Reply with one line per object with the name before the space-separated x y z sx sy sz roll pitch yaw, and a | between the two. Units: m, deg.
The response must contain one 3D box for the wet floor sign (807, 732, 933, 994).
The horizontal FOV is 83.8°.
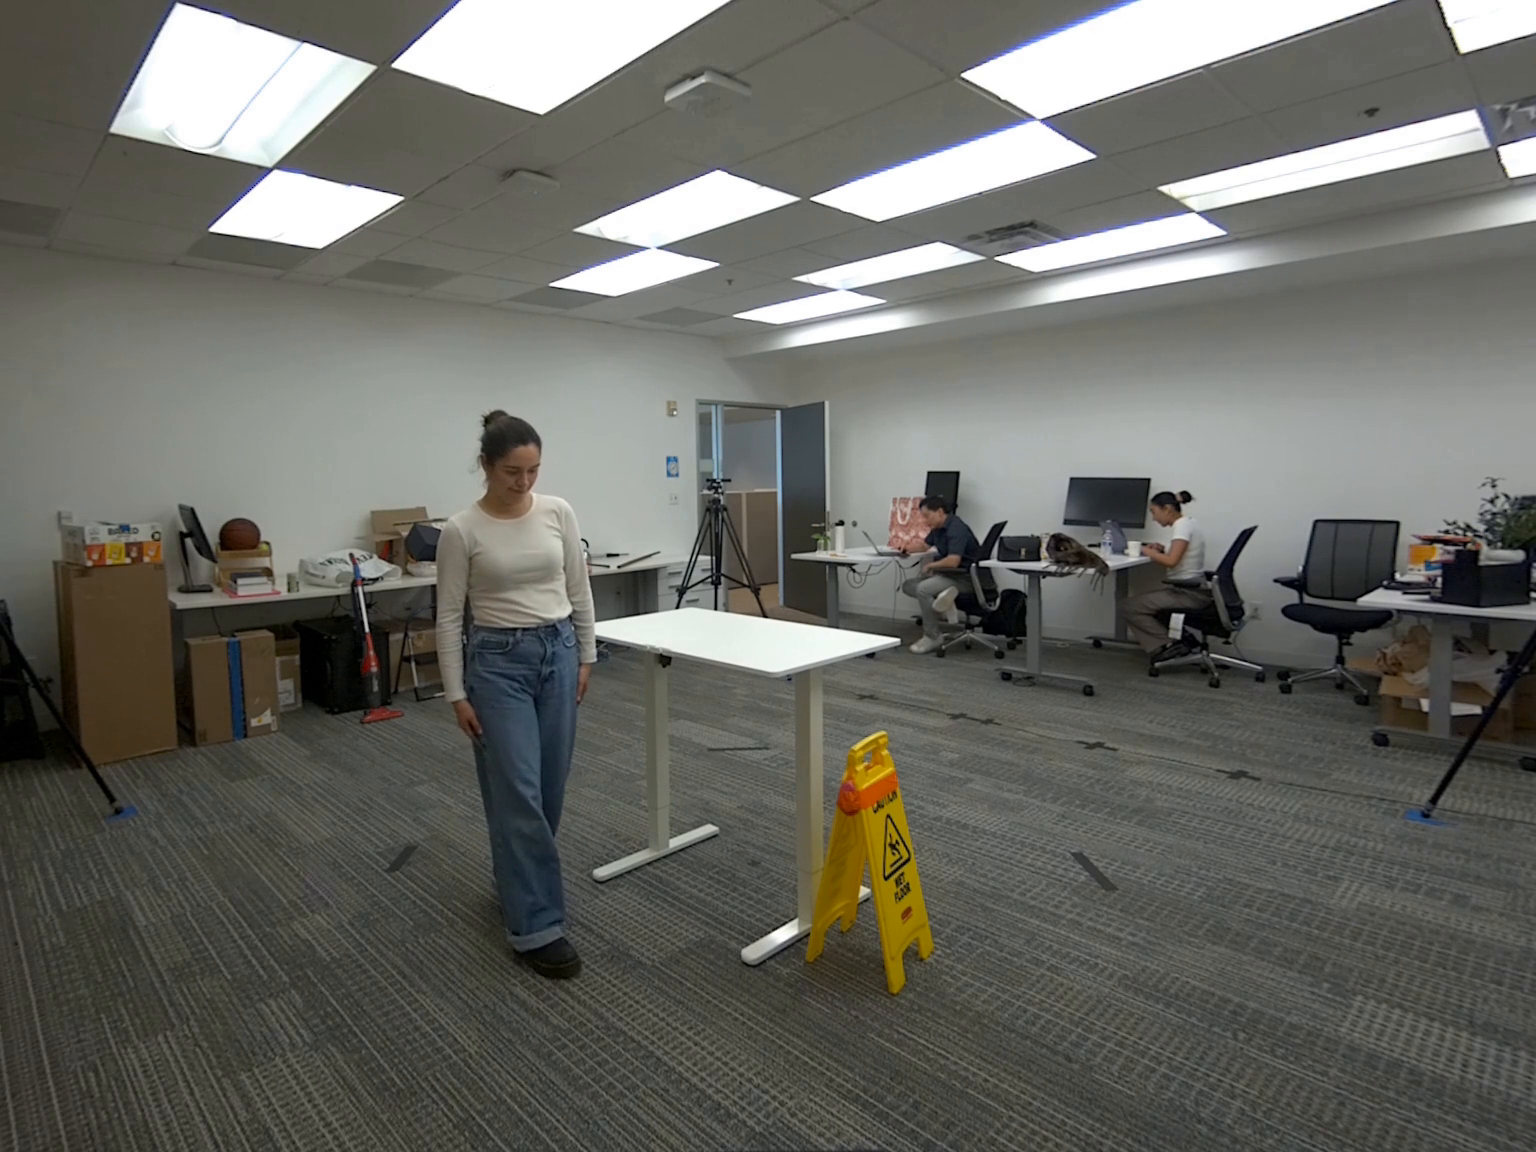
wet floor sign | 0.297 0.786 2.468 0.298 0.643 0.275 3 7 36
